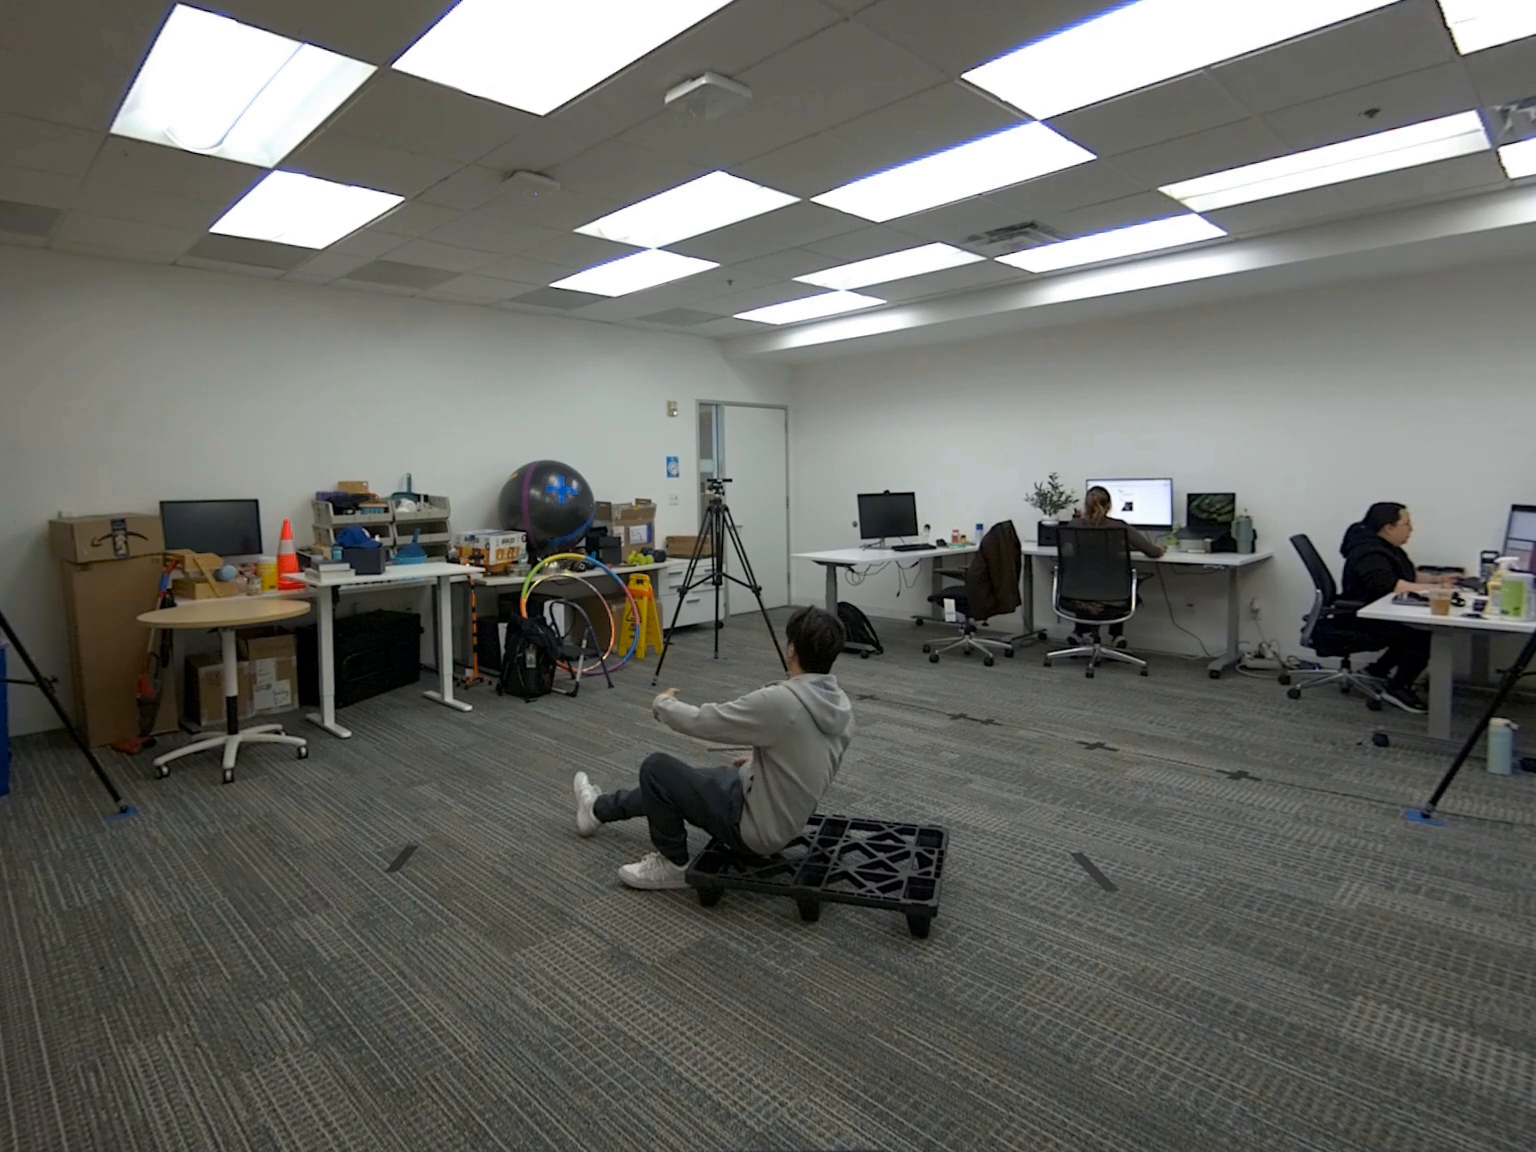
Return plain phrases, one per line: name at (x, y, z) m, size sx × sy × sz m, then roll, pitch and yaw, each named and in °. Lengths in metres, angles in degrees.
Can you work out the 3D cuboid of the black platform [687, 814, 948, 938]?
black platform at (0.187, 0.990, 2.916) m, size 0.819 × 0.143 × 0.597 m, roll 1°, pitch 6°, yaw 17°
